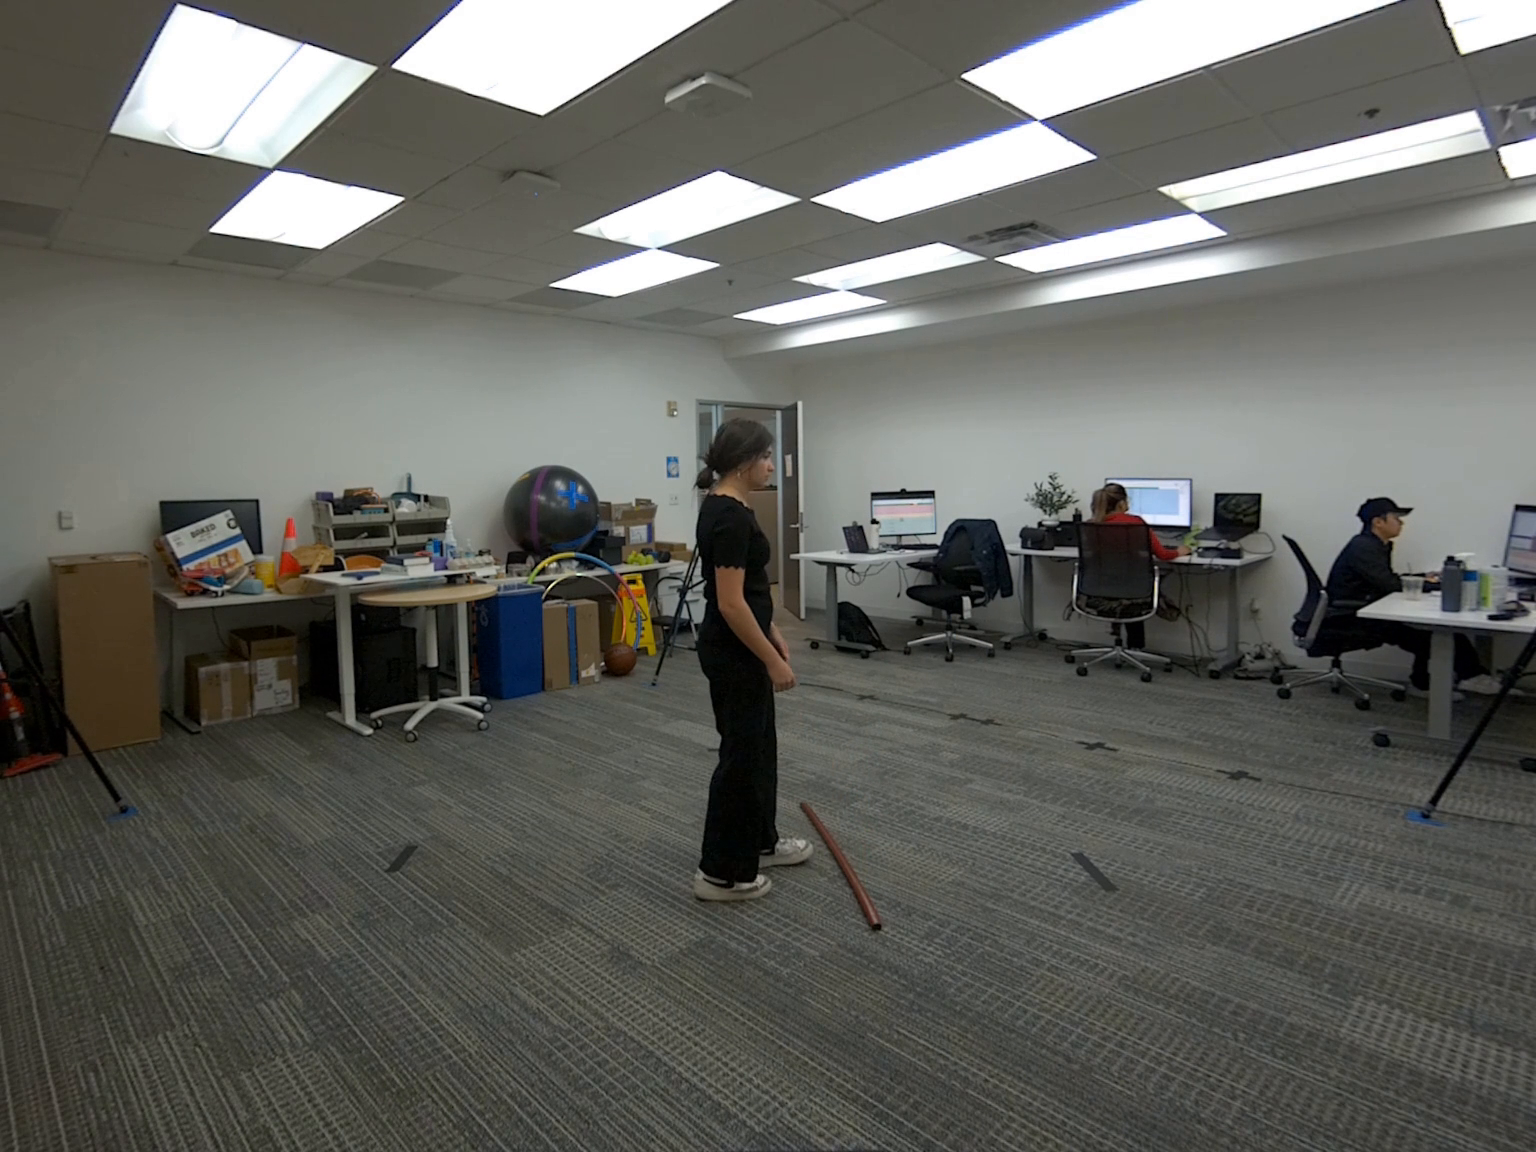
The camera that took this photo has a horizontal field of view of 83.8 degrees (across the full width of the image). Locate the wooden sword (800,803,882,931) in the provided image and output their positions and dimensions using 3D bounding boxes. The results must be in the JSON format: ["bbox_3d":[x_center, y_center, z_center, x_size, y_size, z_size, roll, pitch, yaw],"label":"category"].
[{"bbox_3d":[0.244,1.018,3.140,0.051,0.024,1.037,-15,8,-8],"label":"wooden sword"}]
